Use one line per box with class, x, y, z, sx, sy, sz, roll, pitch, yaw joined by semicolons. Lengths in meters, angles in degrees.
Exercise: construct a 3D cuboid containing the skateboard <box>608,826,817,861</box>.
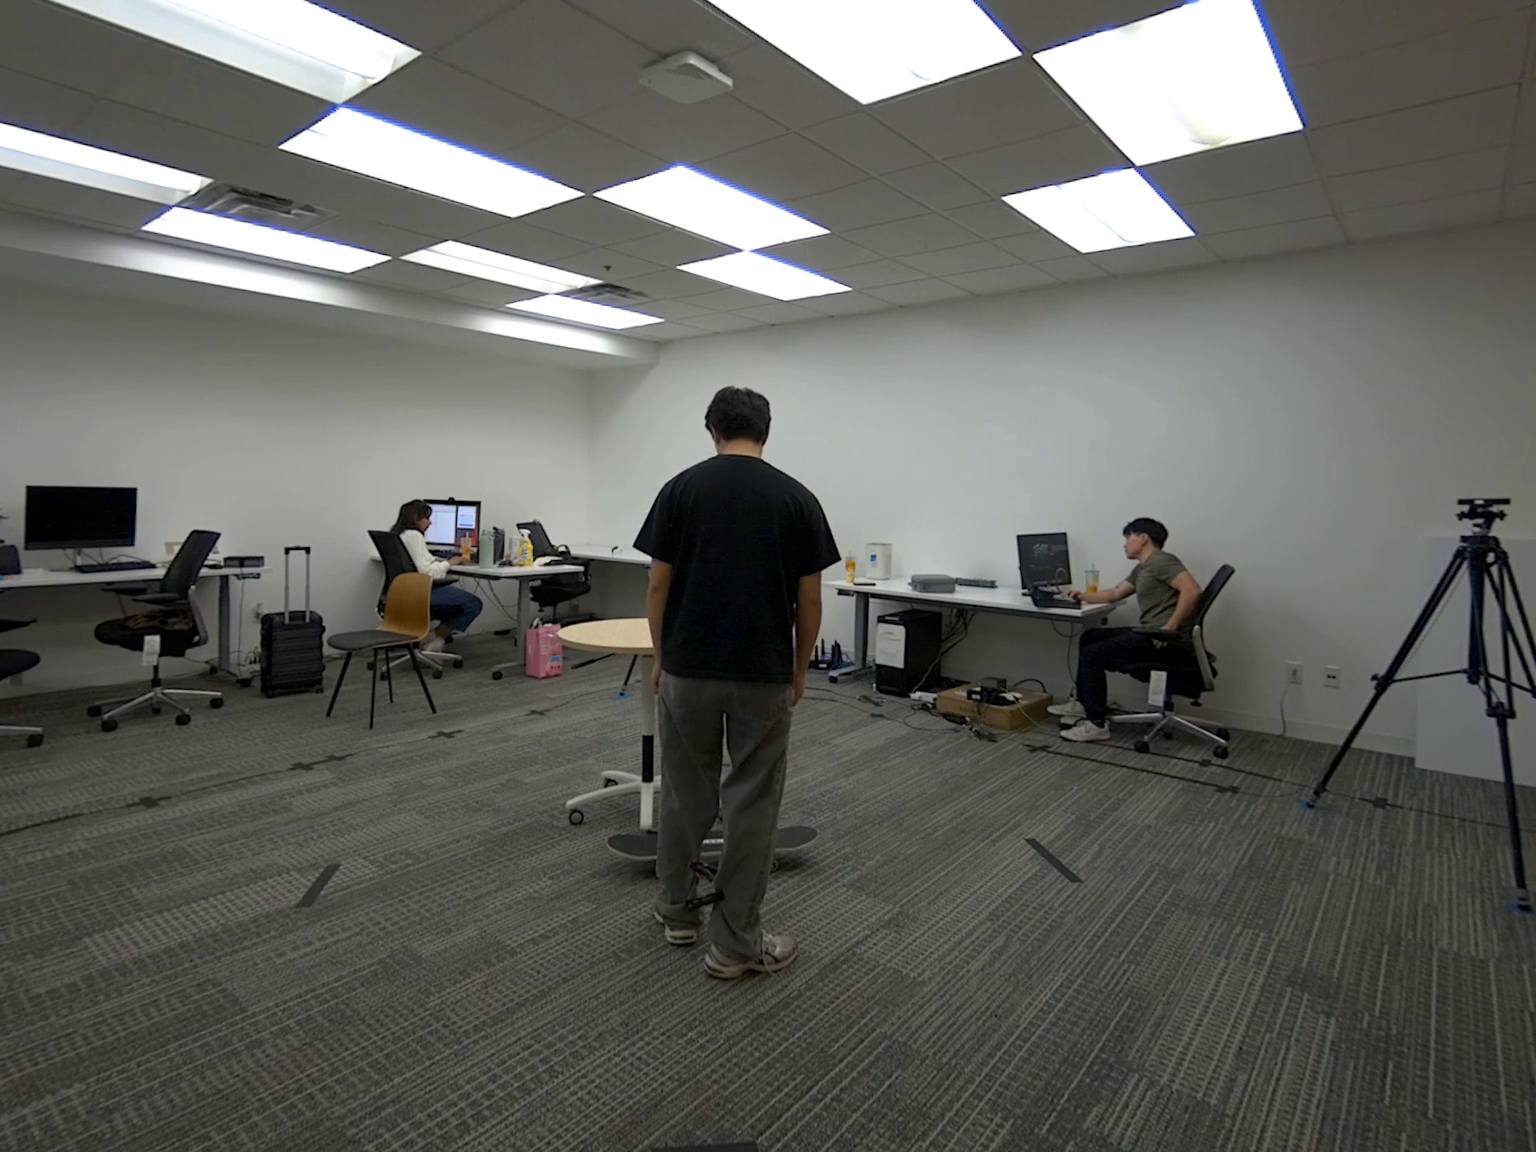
skateboard;-0.203;1.008;3.140;0.776;0.110;0.196;0;4;-11
